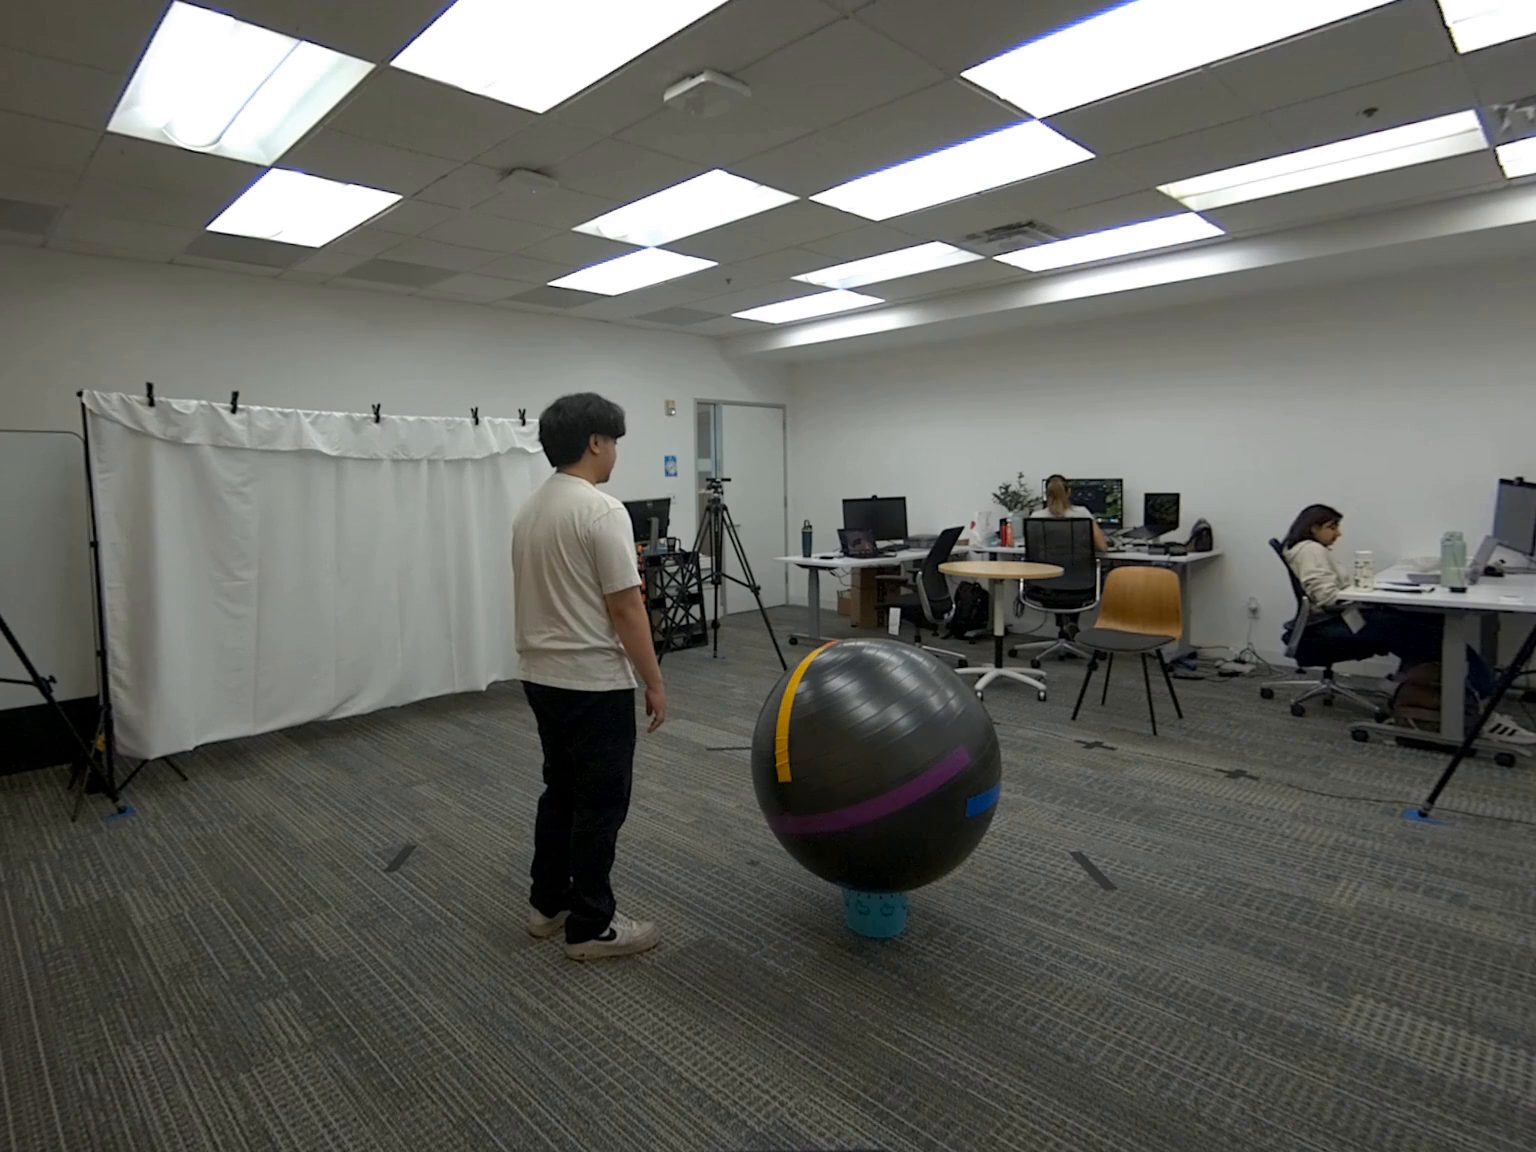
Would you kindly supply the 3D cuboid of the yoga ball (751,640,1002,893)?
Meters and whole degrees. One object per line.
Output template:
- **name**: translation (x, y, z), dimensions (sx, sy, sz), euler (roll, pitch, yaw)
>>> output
- **yoga ball**: translation (0.349, 0.582, 2.645), dimensions (0.757, 0.755, 0.762), euler (-1, 5, -2)
